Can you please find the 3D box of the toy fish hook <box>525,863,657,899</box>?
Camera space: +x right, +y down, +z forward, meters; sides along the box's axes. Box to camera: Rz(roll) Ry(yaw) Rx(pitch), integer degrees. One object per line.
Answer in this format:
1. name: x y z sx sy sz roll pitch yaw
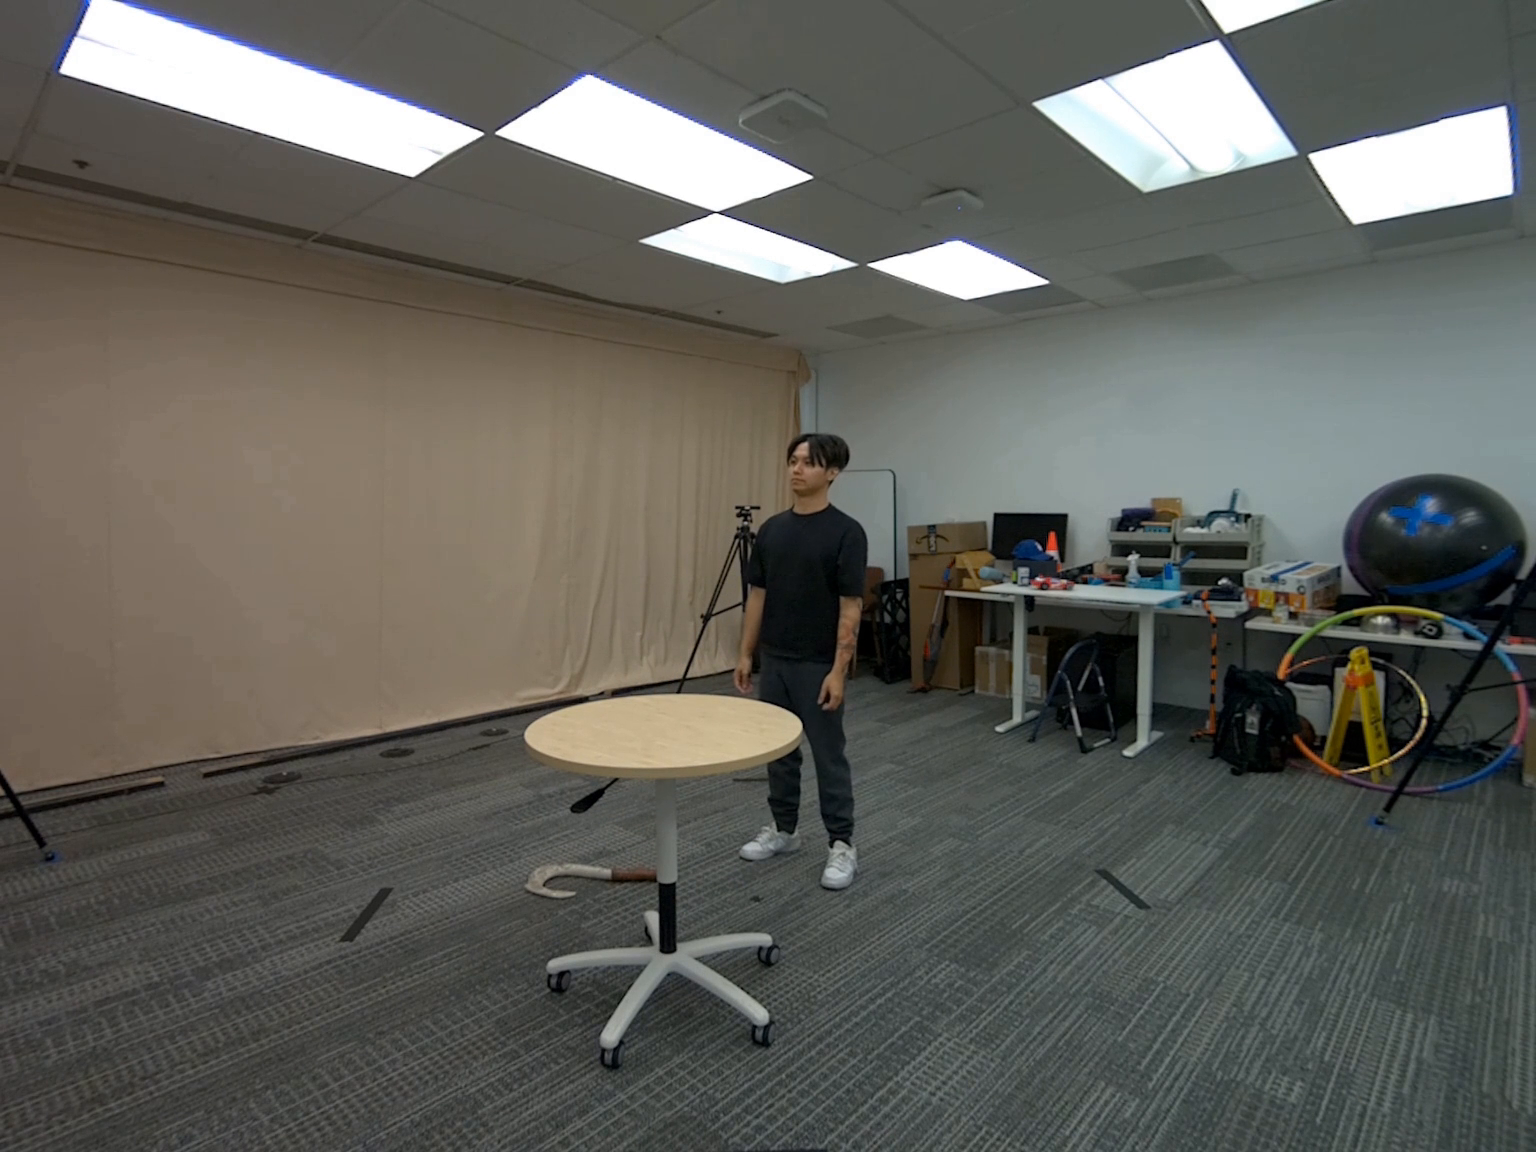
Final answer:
1. toy fish hook: -0.636 1.128 3.100 0.508 0.048 0.226 -1 12 2
